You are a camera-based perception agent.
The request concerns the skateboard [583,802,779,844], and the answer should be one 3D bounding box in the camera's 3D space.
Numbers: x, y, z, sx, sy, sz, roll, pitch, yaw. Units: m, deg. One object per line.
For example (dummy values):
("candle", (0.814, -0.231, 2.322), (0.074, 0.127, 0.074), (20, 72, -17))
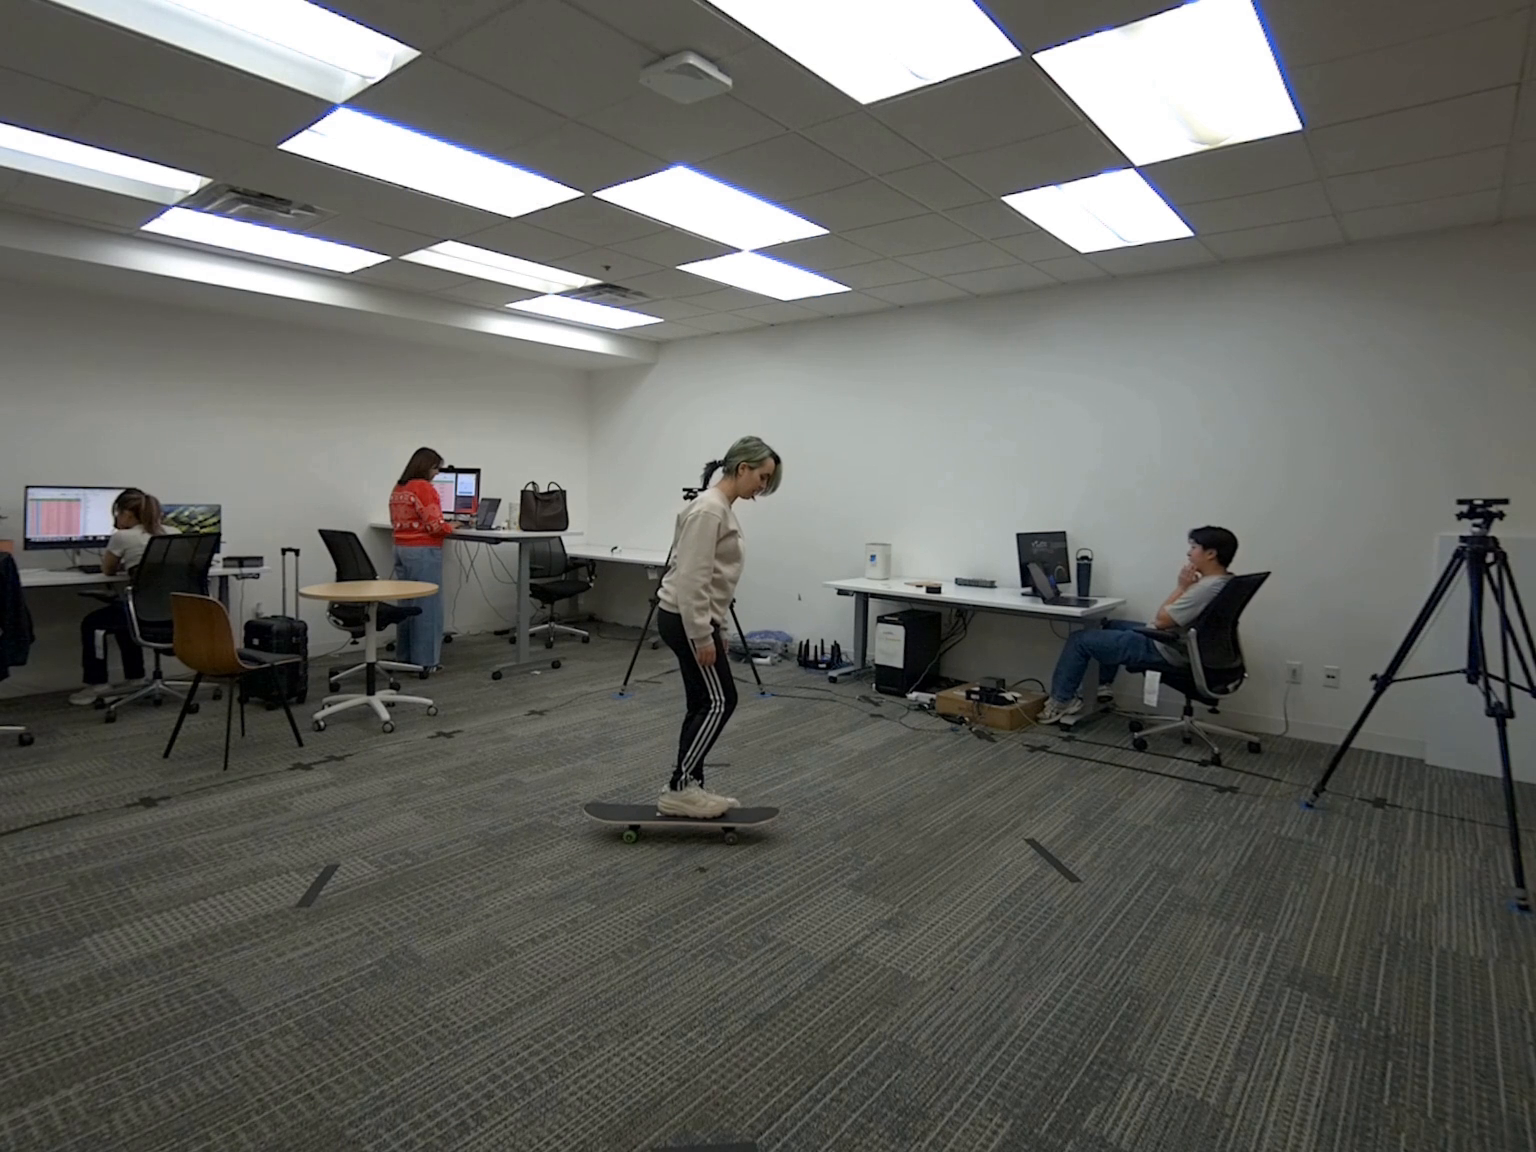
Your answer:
("skateboard", (-0.353, 0.981, 3.410), (0.785, 0.110, 0.194), (1, 4, 0))
